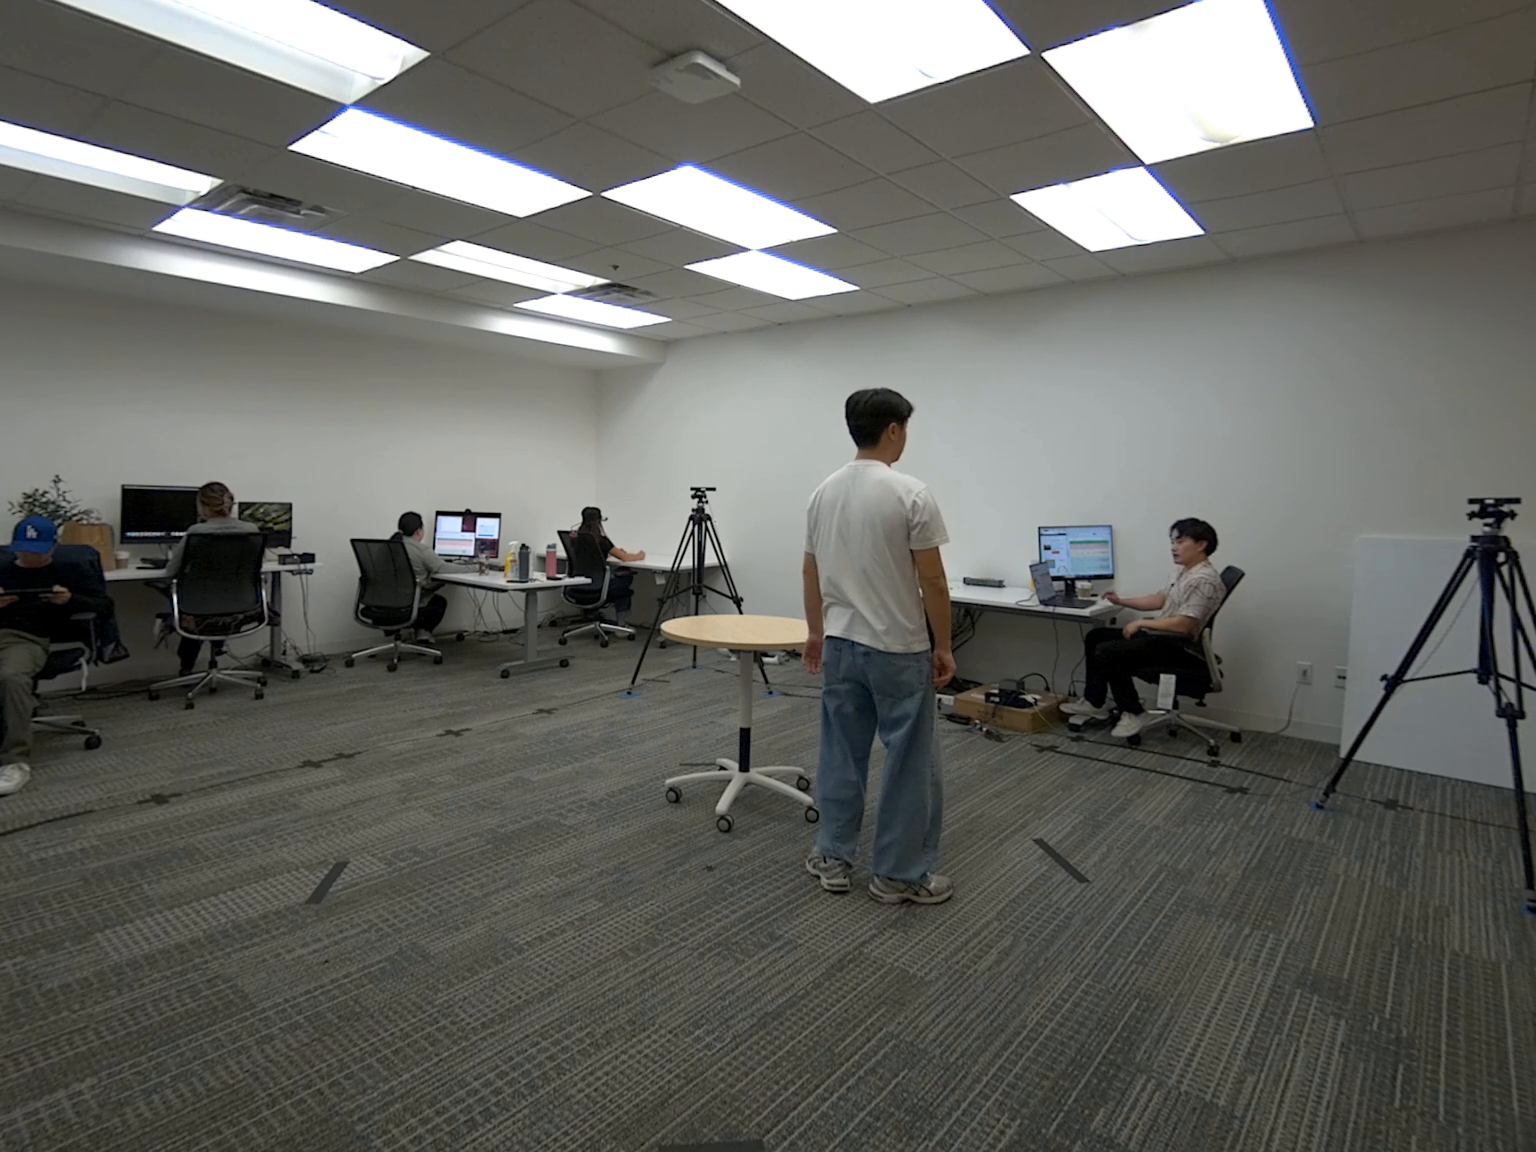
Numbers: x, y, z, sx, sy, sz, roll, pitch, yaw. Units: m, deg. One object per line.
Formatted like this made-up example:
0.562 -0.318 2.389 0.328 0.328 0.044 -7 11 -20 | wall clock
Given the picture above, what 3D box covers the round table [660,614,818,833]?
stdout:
-0.104 0.618 3.758 0.763 0.791 0.768 1 4 -2 | round table
